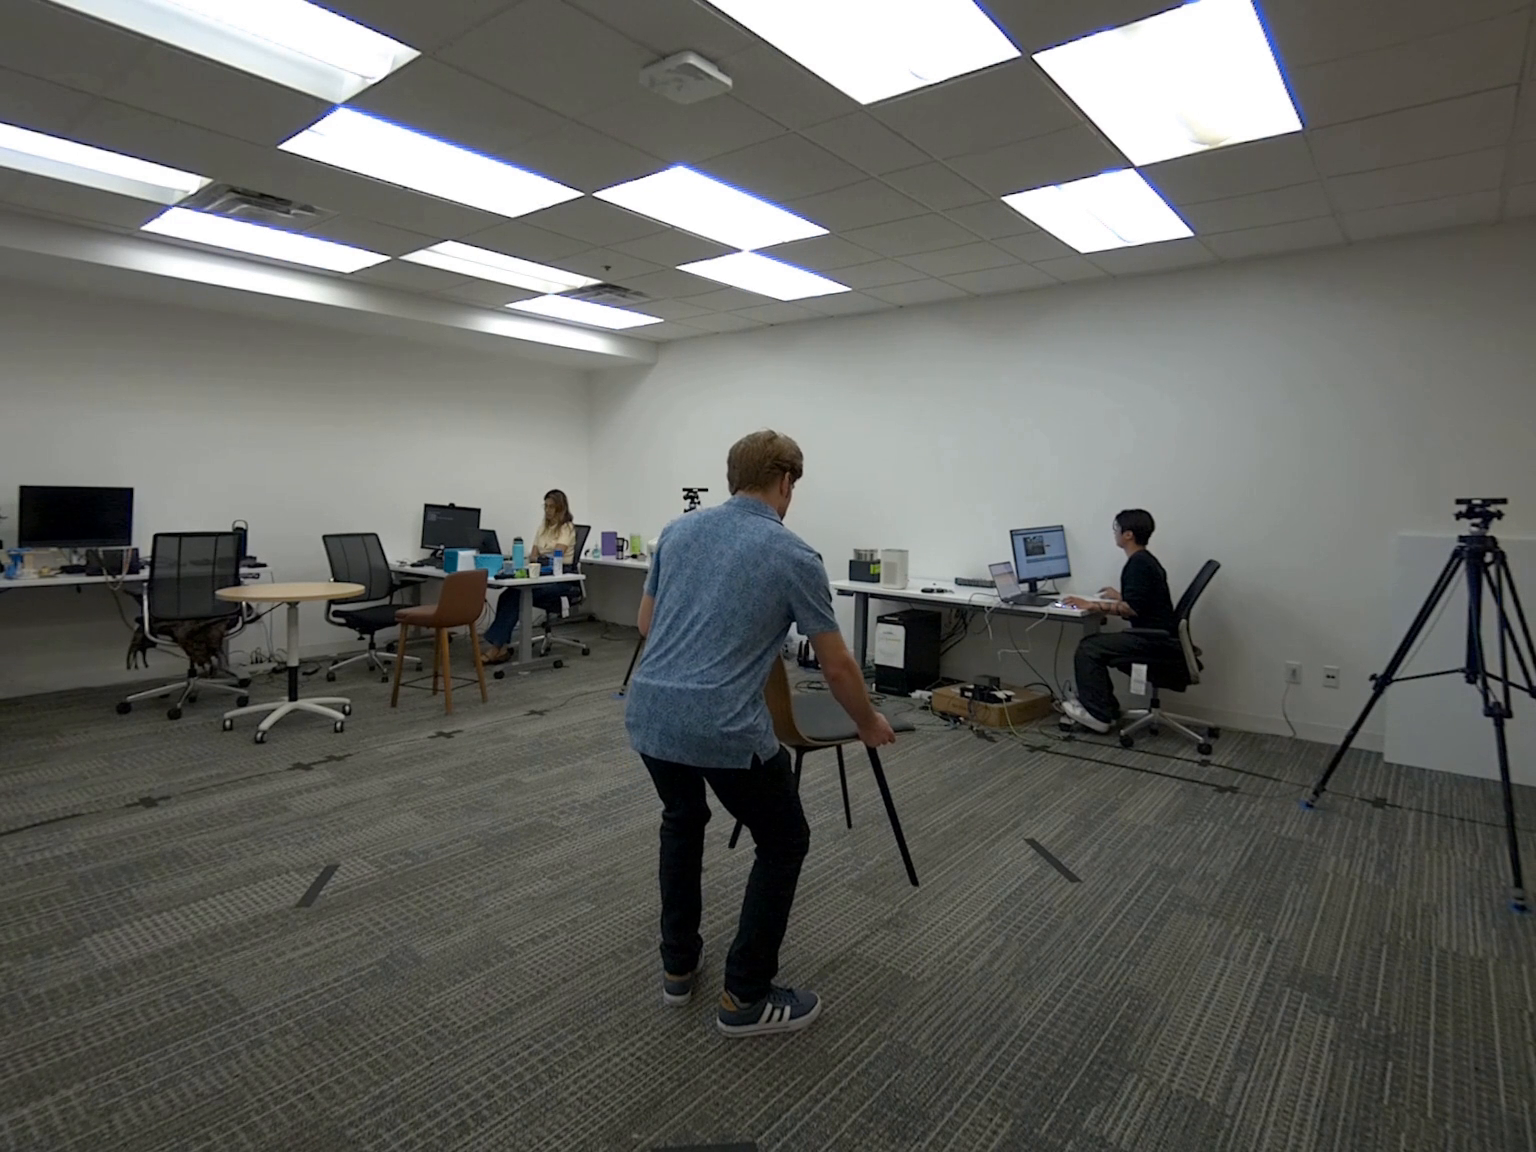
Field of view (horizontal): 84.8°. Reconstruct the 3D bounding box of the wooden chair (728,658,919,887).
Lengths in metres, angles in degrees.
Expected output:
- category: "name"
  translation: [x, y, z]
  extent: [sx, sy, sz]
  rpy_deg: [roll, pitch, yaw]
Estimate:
- category: "wooden chair"
  translation: [0.151, 0.489, 2.664]
  extent: [0.514, 0.872, 0.489]
  rpy_deg: [-7, 6, -19]
